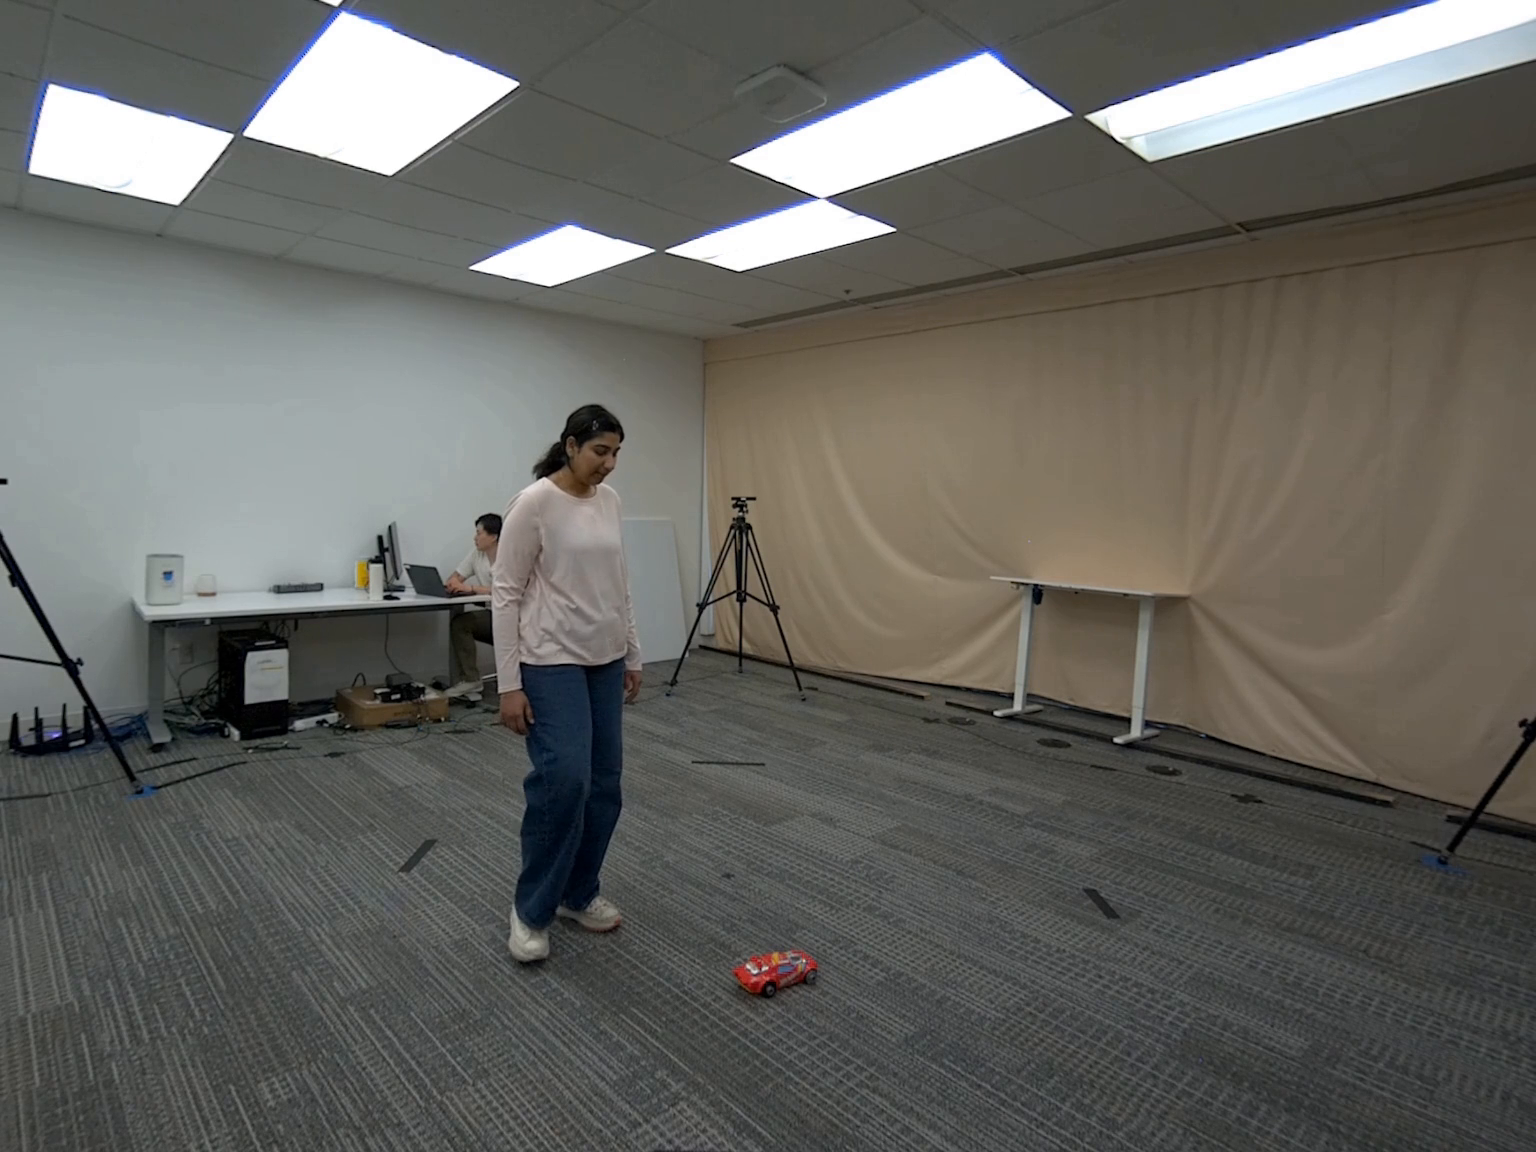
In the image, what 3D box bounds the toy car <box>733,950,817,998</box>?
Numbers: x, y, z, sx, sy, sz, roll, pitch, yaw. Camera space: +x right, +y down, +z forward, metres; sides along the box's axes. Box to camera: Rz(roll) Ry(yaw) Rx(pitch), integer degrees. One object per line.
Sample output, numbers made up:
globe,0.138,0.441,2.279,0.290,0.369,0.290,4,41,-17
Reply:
toy car,0.013,1.146,2.414,0.248,0.083,0.133,11,-1,-31
